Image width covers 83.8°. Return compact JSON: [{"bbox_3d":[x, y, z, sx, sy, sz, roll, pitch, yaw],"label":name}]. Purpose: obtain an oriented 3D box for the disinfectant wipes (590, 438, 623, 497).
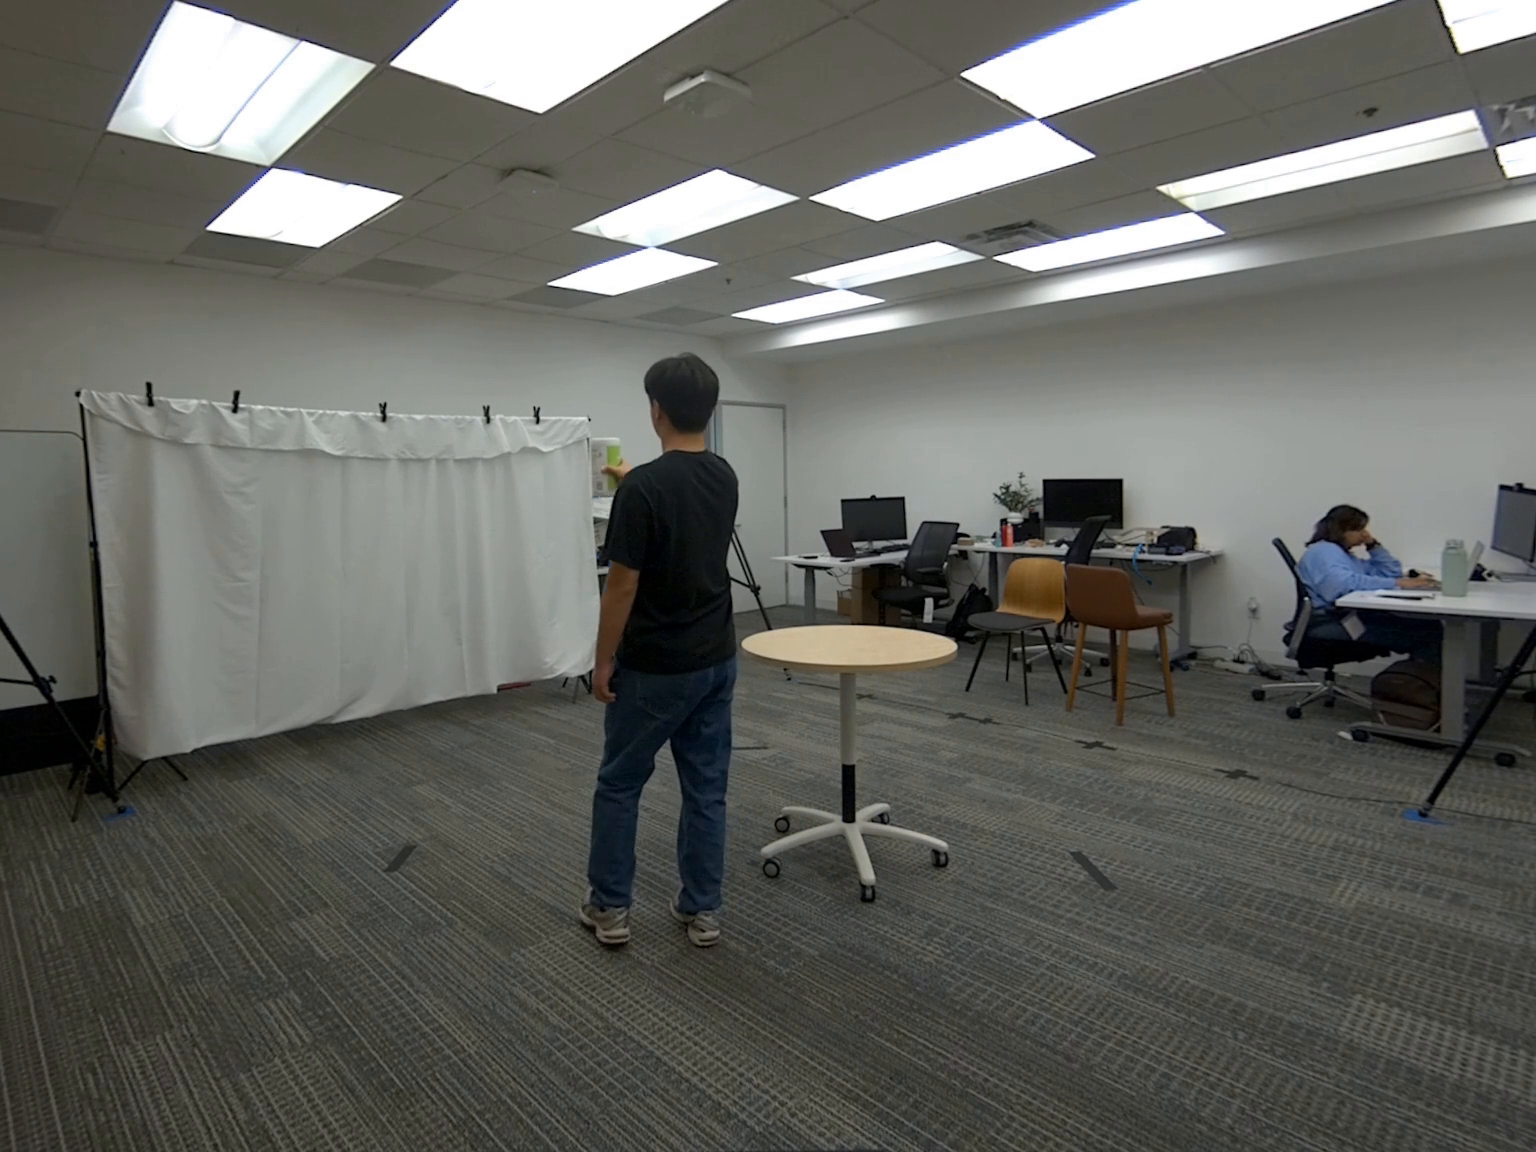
[{"bbox_3d":[-0.591,-0.401,3.150,0.118,0.216,0.118,-1,5,-2],"label":"disinfectant wipes"}]
